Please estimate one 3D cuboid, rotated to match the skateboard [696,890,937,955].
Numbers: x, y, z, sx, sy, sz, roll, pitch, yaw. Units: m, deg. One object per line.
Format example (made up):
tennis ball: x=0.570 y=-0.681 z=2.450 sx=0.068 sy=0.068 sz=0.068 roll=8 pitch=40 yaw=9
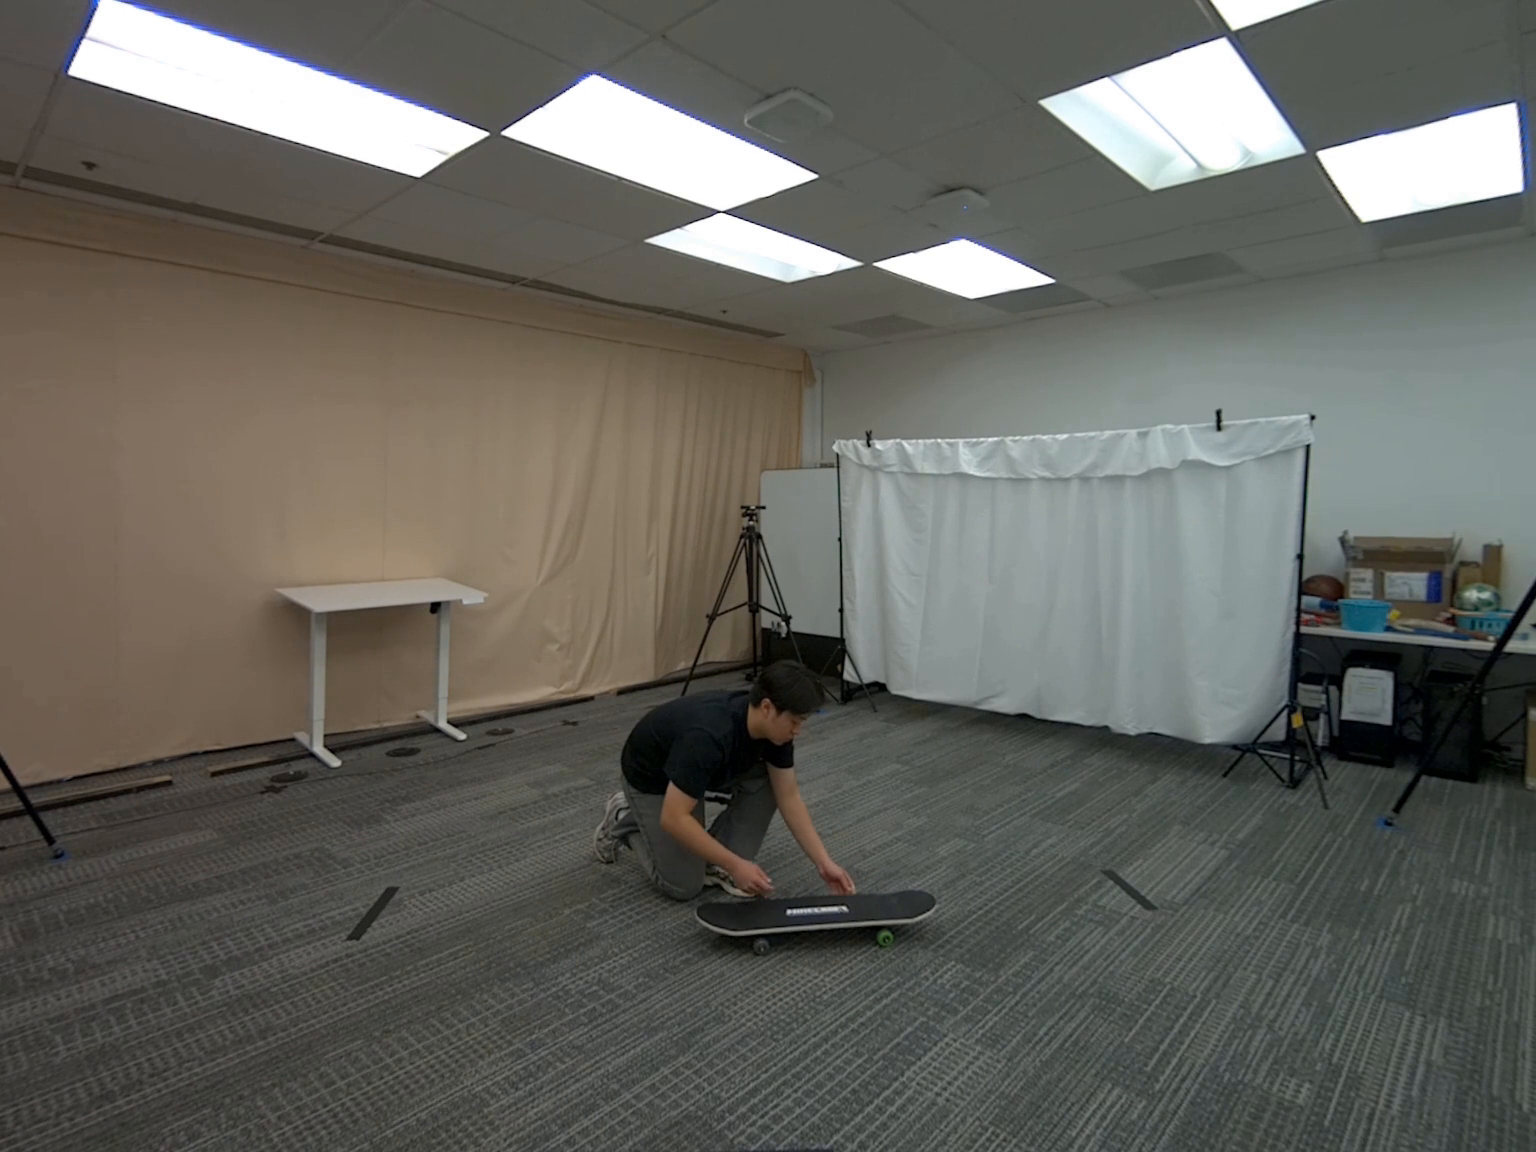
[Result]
skateboard: x=0.163 y=1.104 z=2.713 sx=0.780 sy=0.110 sz=0.195 roll=-1 pitch=4 yaw=-7
